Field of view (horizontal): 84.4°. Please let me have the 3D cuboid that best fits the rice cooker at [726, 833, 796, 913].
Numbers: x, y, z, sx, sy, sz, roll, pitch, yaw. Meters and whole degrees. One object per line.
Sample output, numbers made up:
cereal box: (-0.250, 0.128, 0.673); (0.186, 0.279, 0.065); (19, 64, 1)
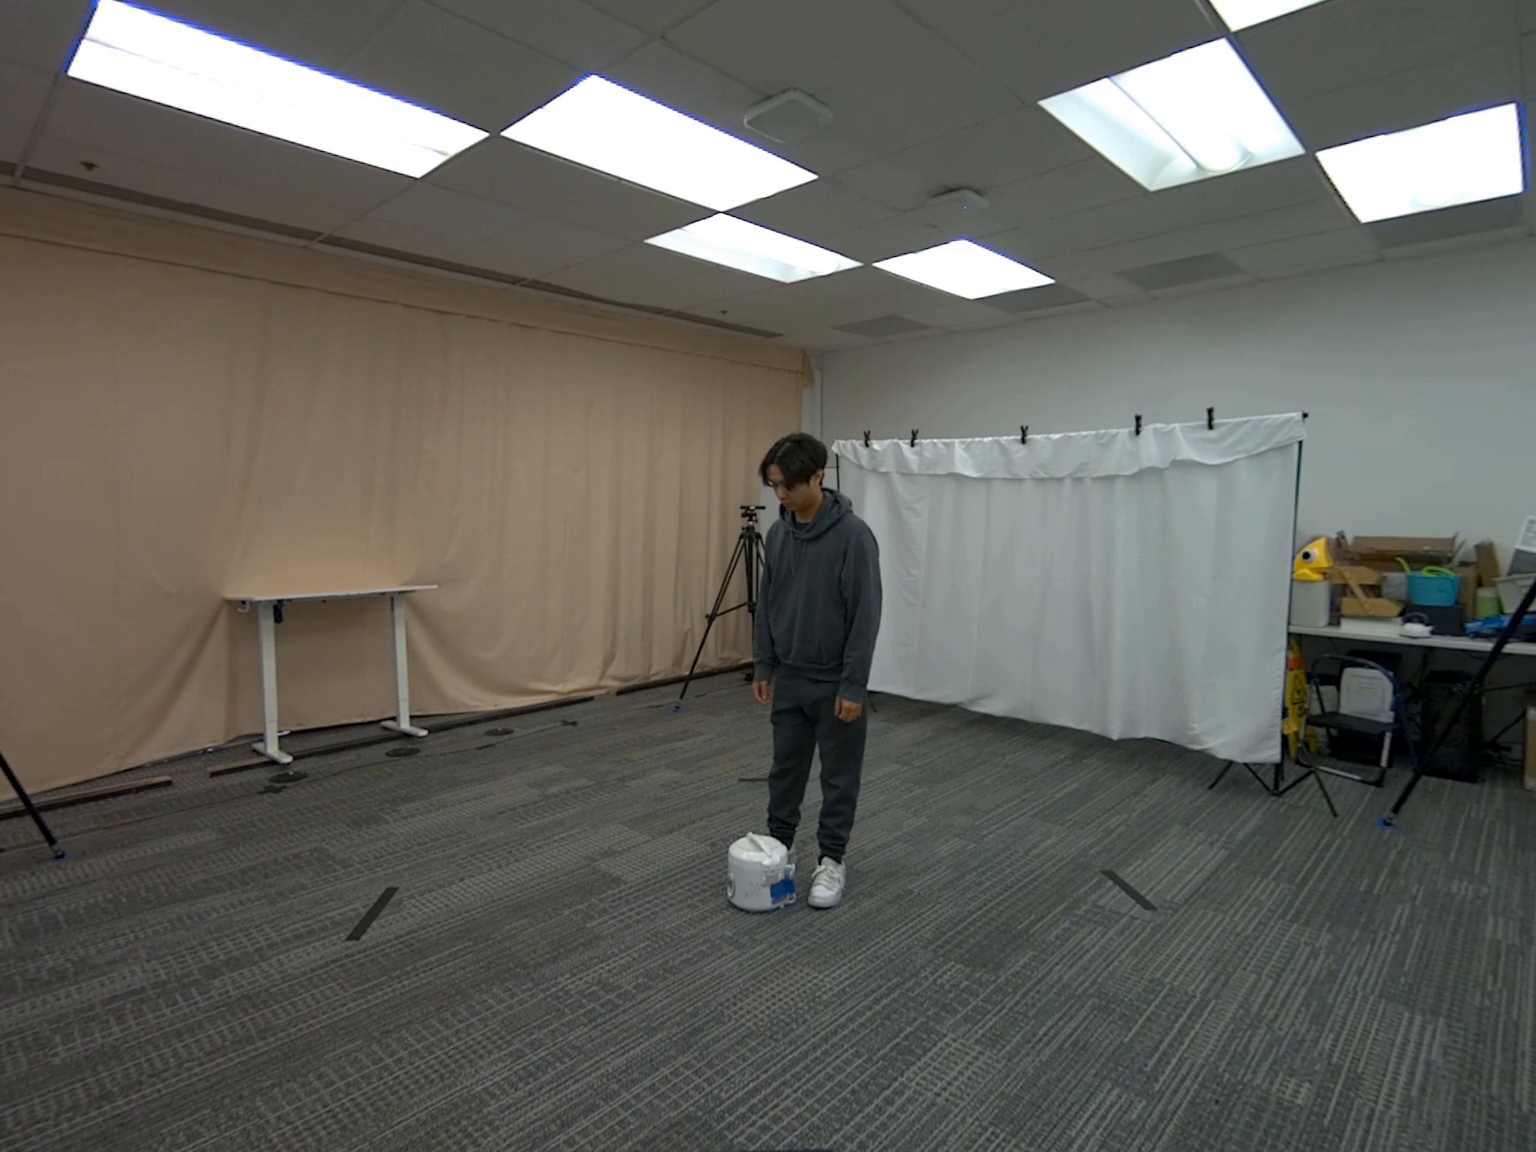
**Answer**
rice cooker: (-0.031, 1.030, 2.950); (0.212, 0.232, 0.226); (0, 3, -25)
